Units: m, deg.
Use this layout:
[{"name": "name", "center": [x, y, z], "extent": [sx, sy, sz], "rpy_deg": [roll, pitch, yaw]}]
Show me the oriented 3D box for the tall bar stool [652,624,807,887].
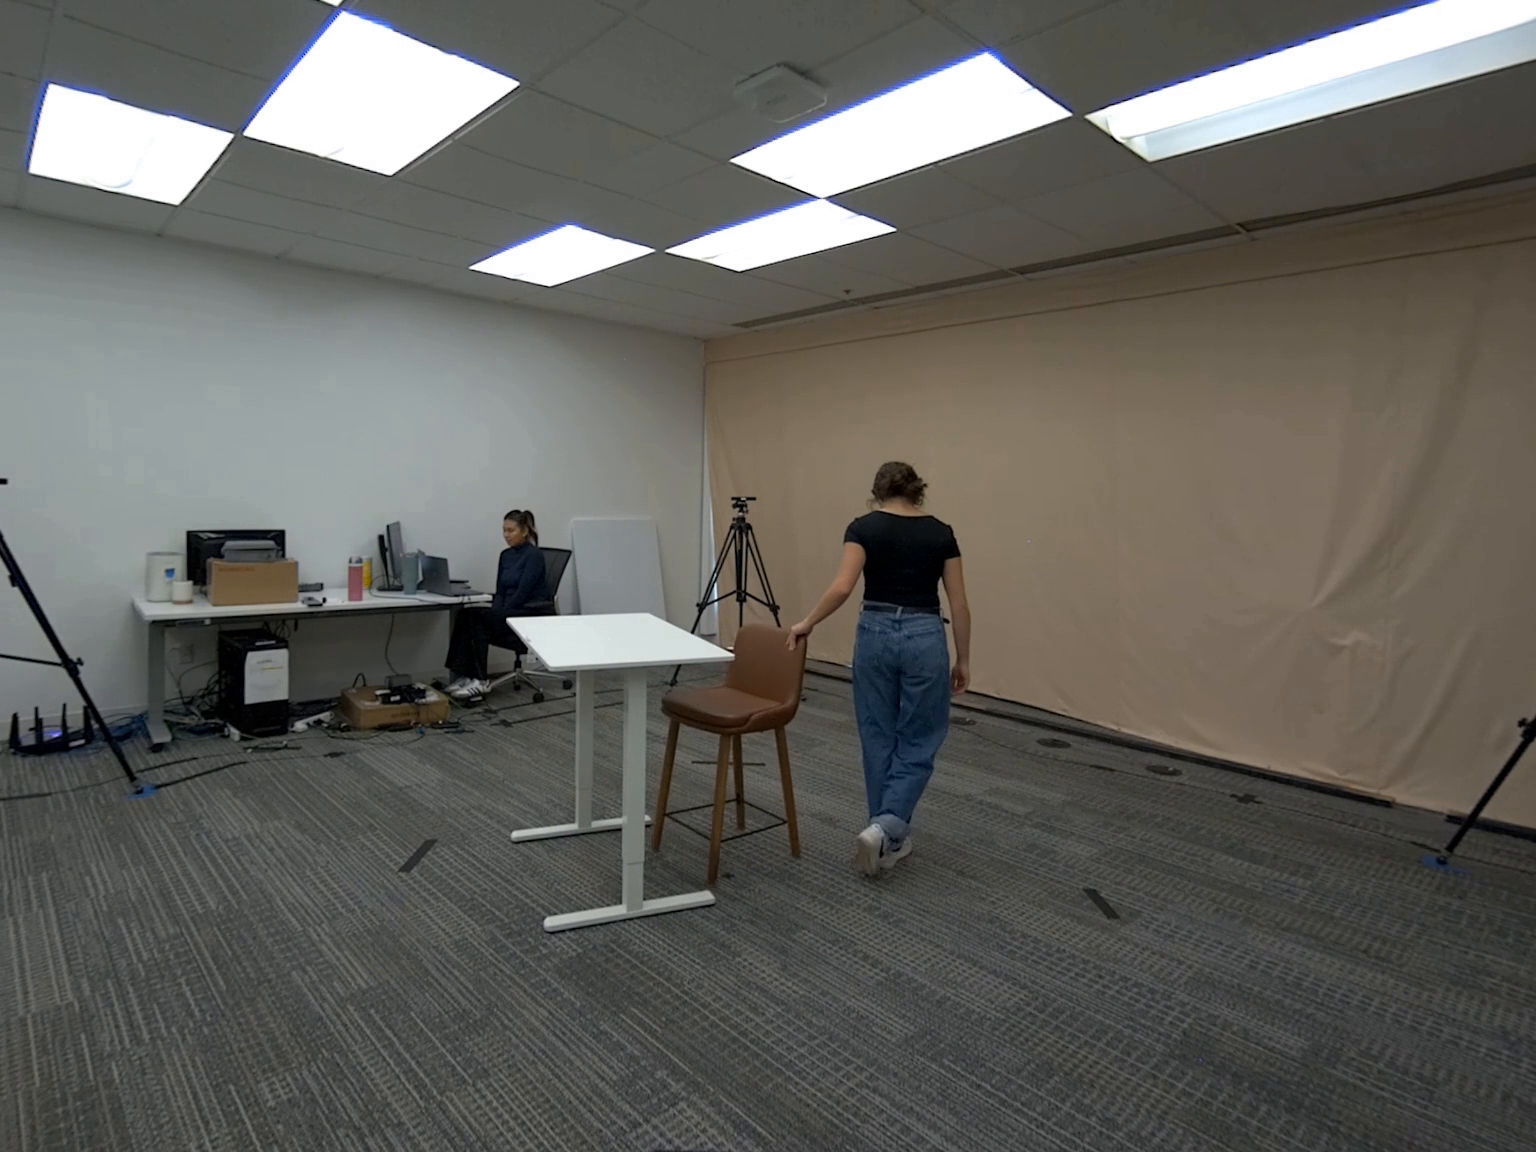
[{"name": "tall bar stool", "center": [-0.149, 0.652, 3.280], "extent": [0.456, 0.889, 0.468], "rpy_deg": [2, 1, -39]}]
